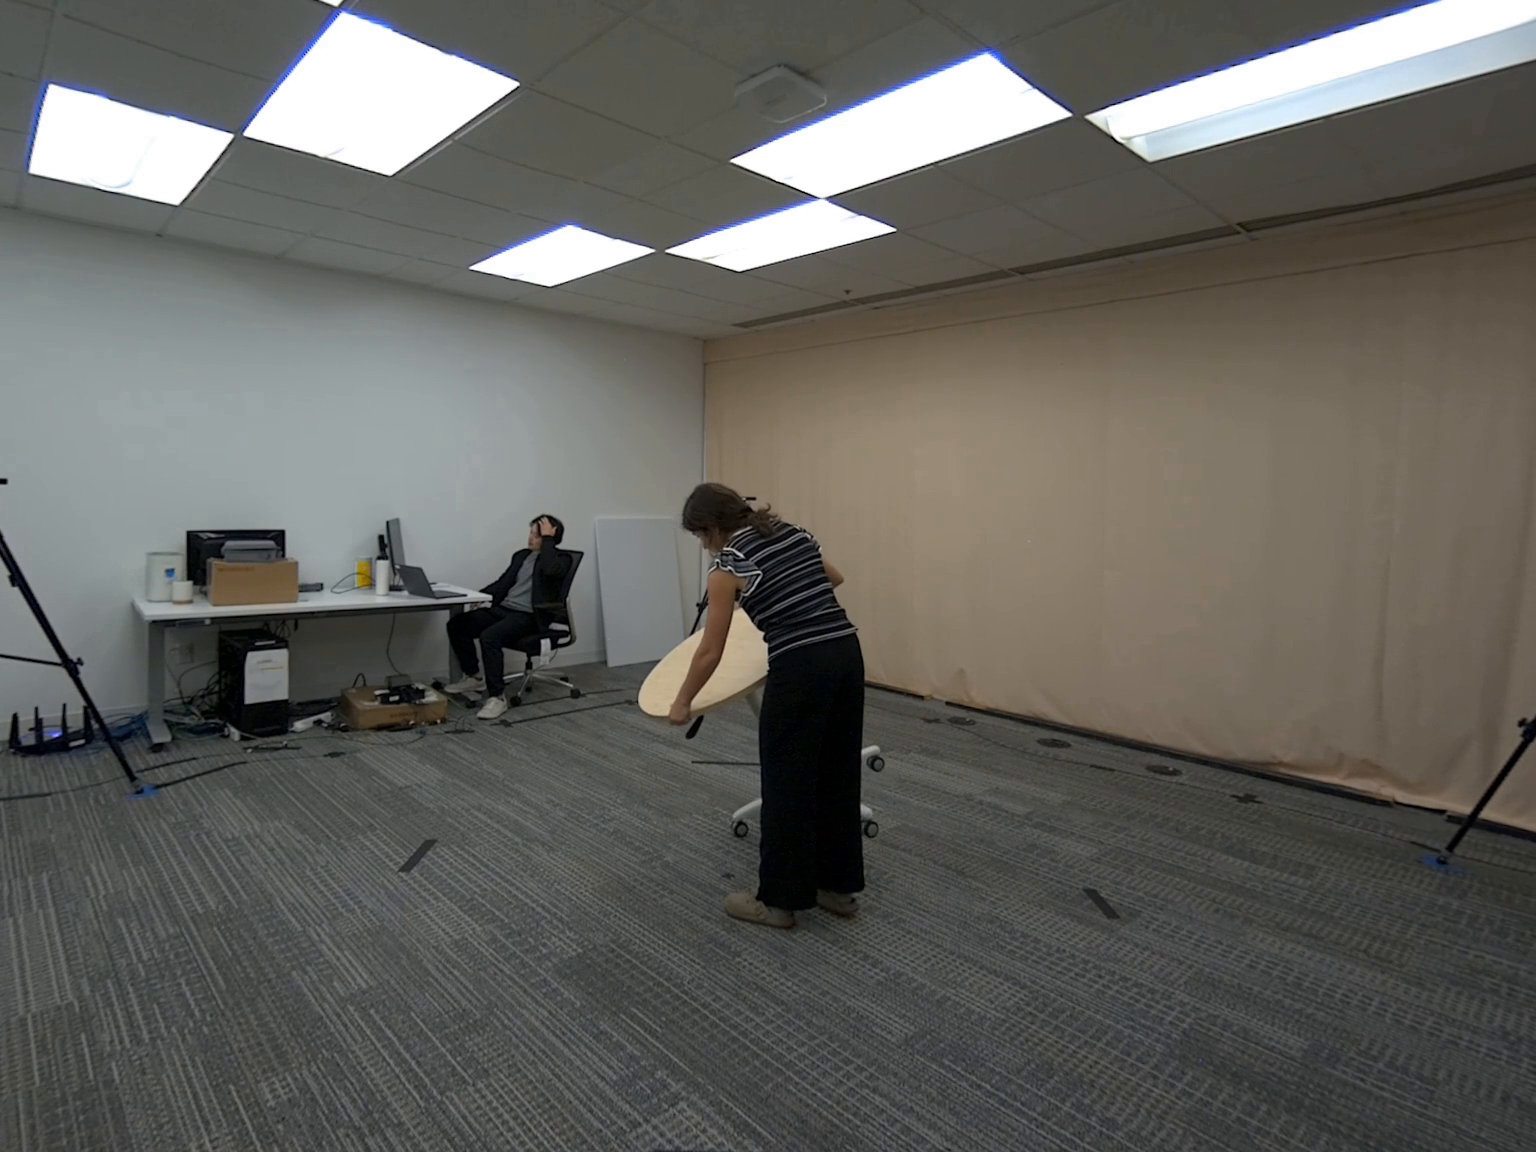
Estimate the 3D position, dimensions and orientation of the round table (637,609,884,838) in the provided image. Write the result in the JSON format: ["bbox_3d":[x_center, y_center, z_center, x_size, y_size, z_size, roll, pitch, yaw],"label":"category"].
[{"bbox_3d":[0.017,0.620,3.284,0.766,0.782,0.773,-26,16,6],"label":"round table"}]
